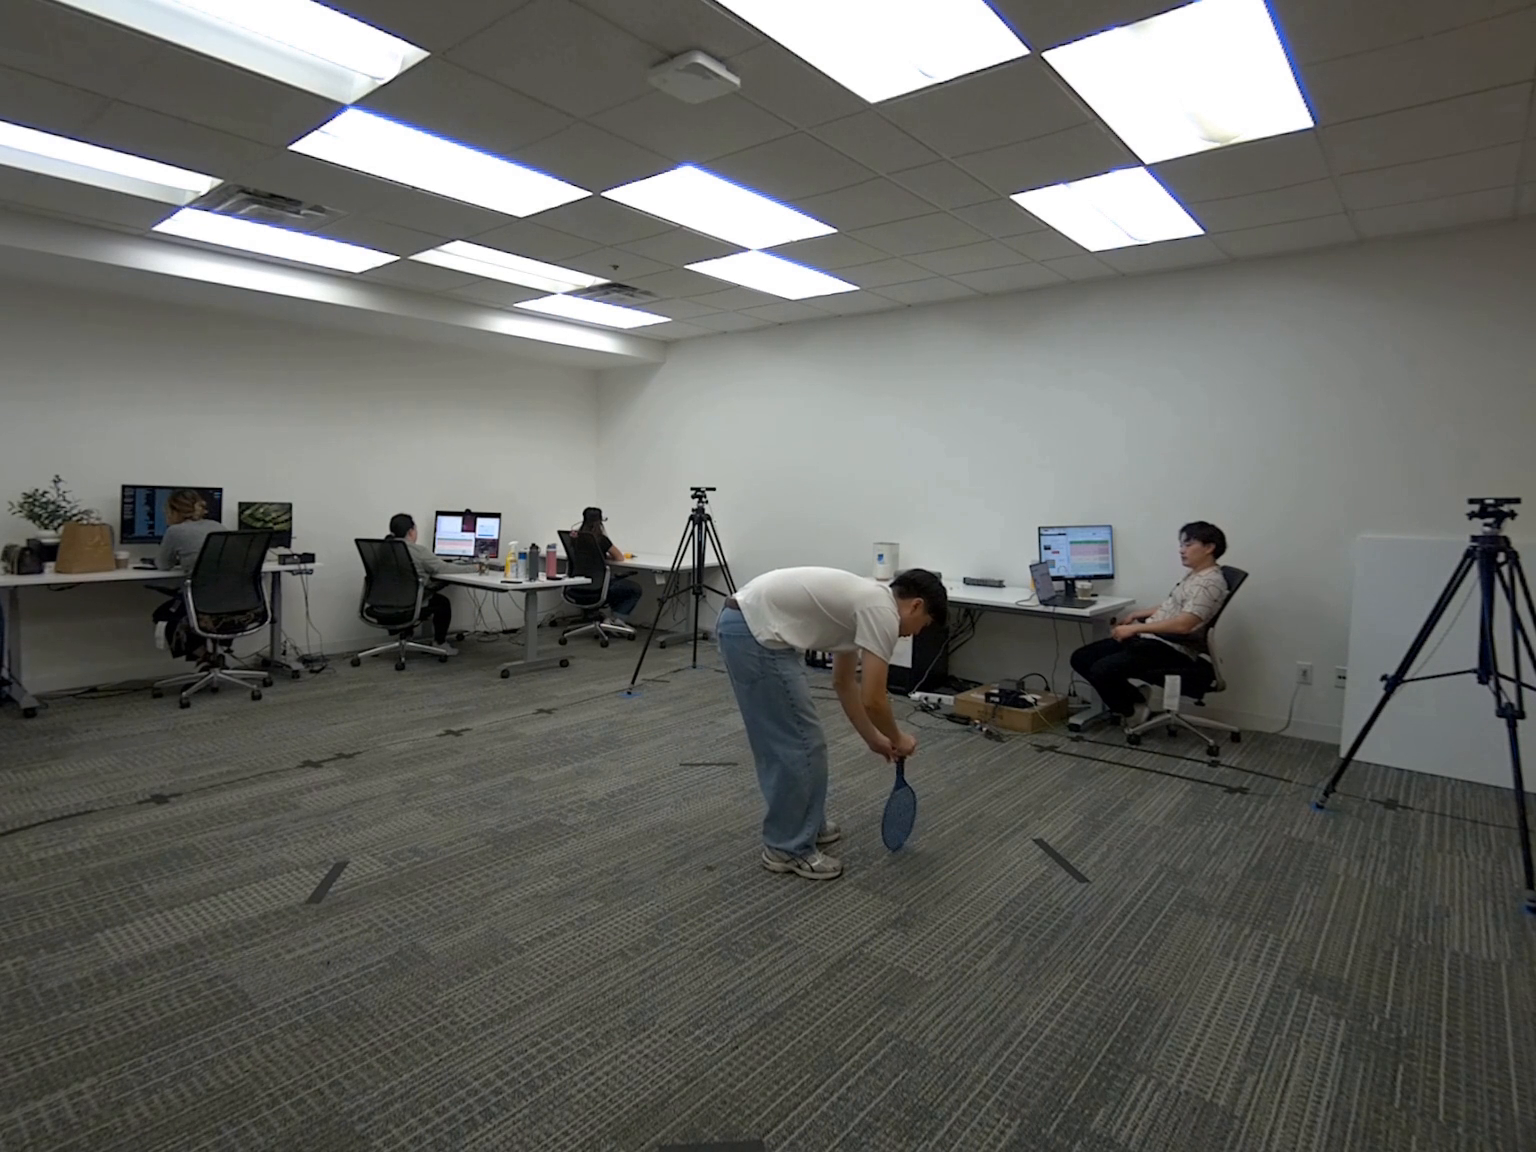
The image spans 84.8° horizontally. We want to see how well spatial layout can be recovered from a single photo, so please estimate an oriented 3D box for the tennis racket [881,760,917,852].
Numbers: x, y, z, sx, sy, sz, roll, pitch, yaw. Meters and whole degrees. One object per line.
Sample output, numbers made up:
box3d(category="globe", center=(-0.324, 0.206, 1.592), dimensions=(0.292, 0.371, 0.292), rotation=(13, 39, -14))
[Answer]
box3d(category="tennis racket", center=(0.488, 0.863, 3.275), dimensions=(0.221, 0.429, 0.031), rotation=(9, 12, 37))
